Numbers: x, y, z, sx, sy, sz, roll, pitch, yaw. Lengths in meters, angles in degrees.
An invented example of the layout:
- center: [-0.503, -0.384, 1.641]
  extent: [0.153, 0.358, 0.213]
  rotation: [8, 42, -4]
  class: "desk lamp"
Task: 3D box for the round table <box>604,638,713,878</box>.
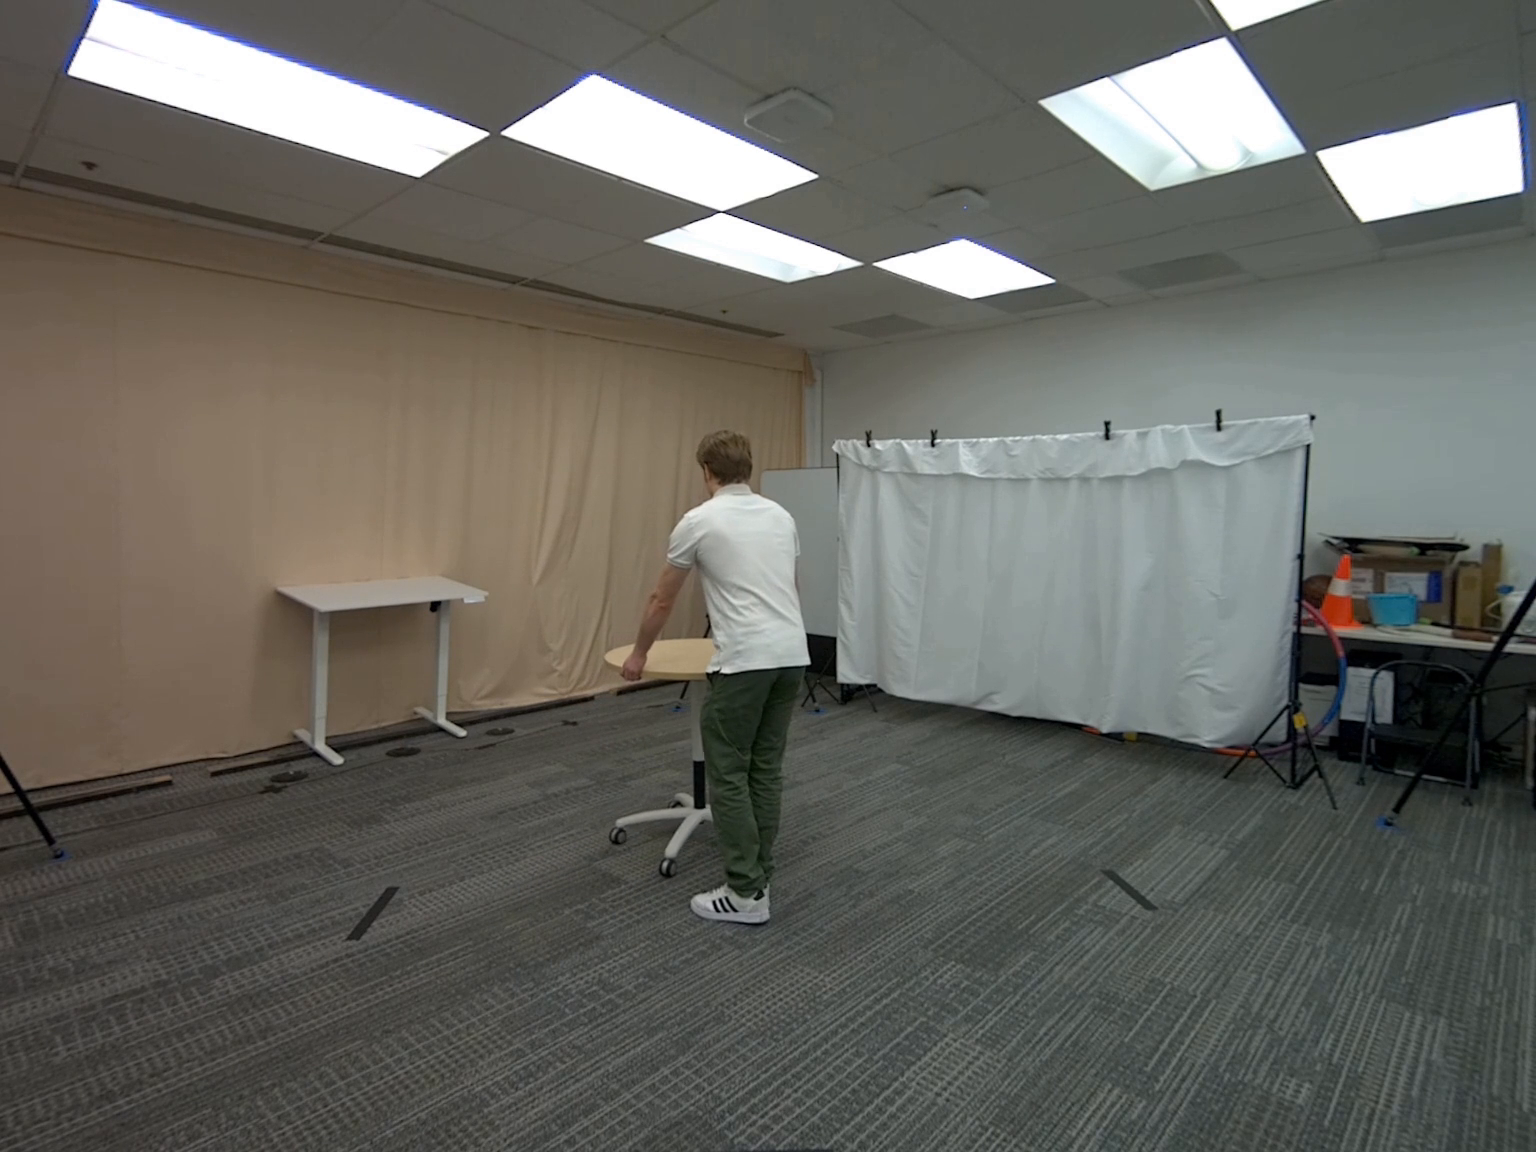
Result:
- center: [-0.286, 0.714, 3.480]
  extent: [0.763, 0.792, 0.766]
  rotation: [-1, 4, -2]
  class: "round table"
